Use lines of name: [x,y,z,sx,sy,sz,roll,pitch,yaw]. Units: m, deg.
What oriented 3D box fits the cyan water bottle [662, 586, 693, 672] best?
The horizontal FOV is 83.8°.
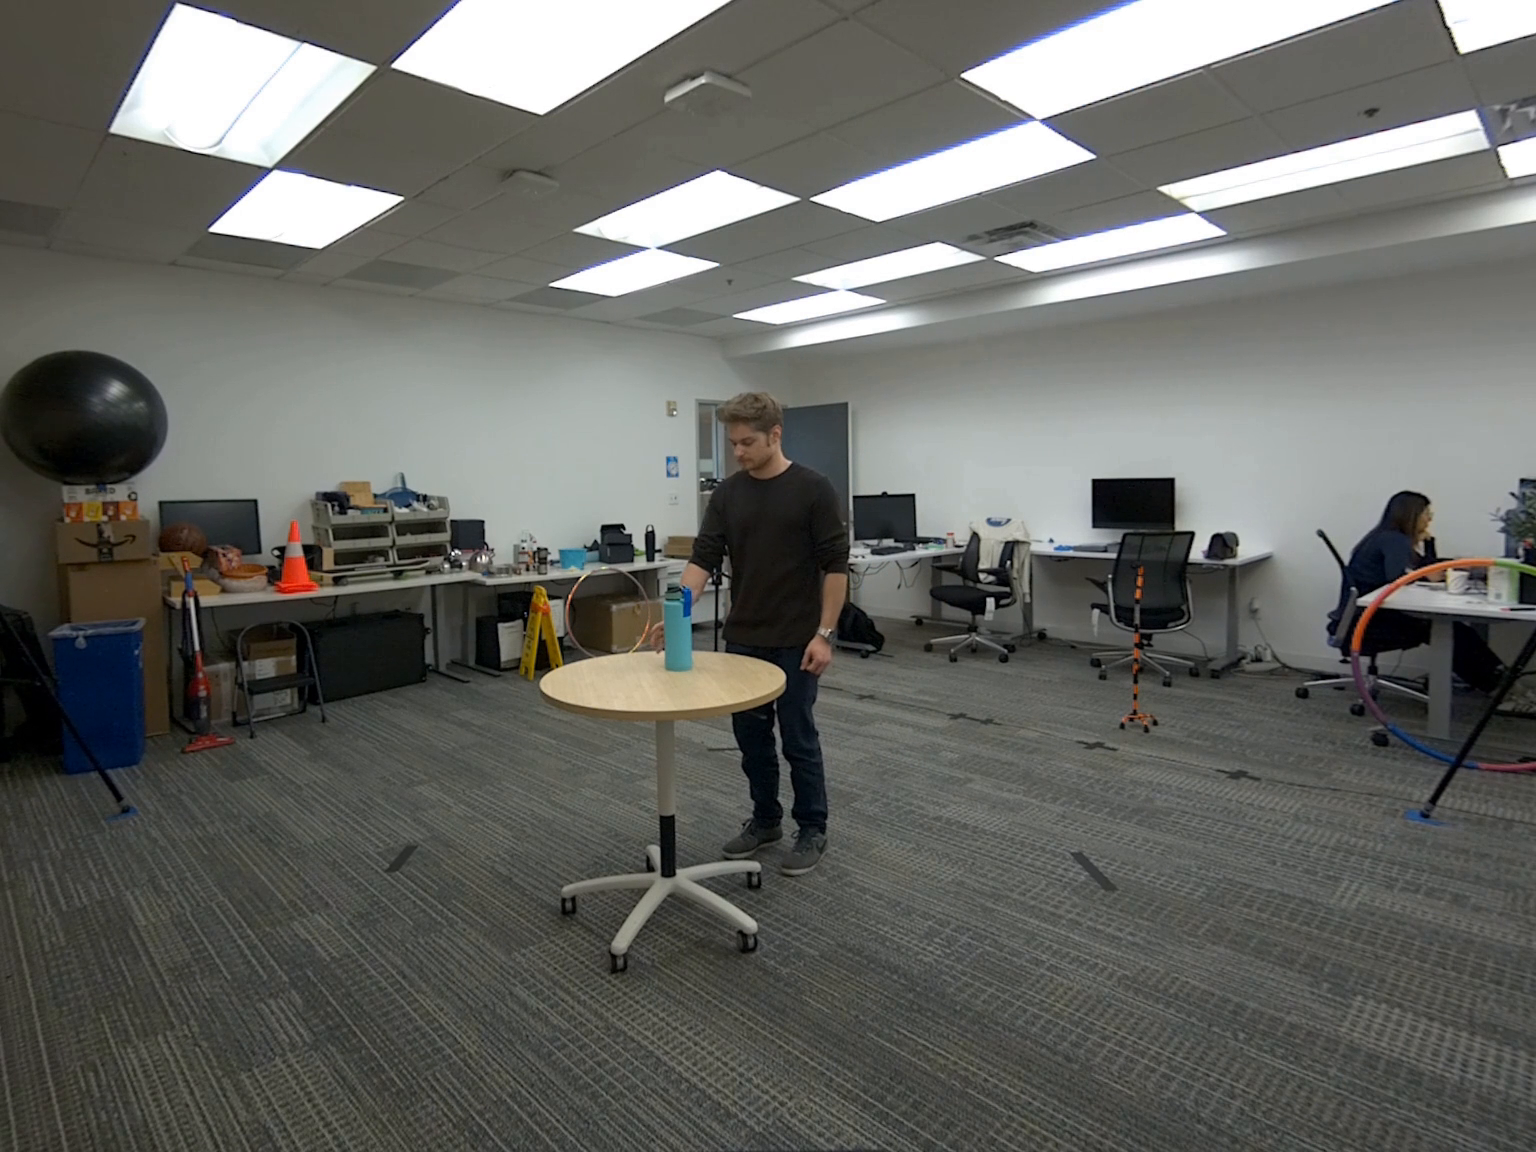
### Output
cyan water bottle: [-0.290,0.164,2.780,0.092,0.282,0.093,-2,4,-2]
